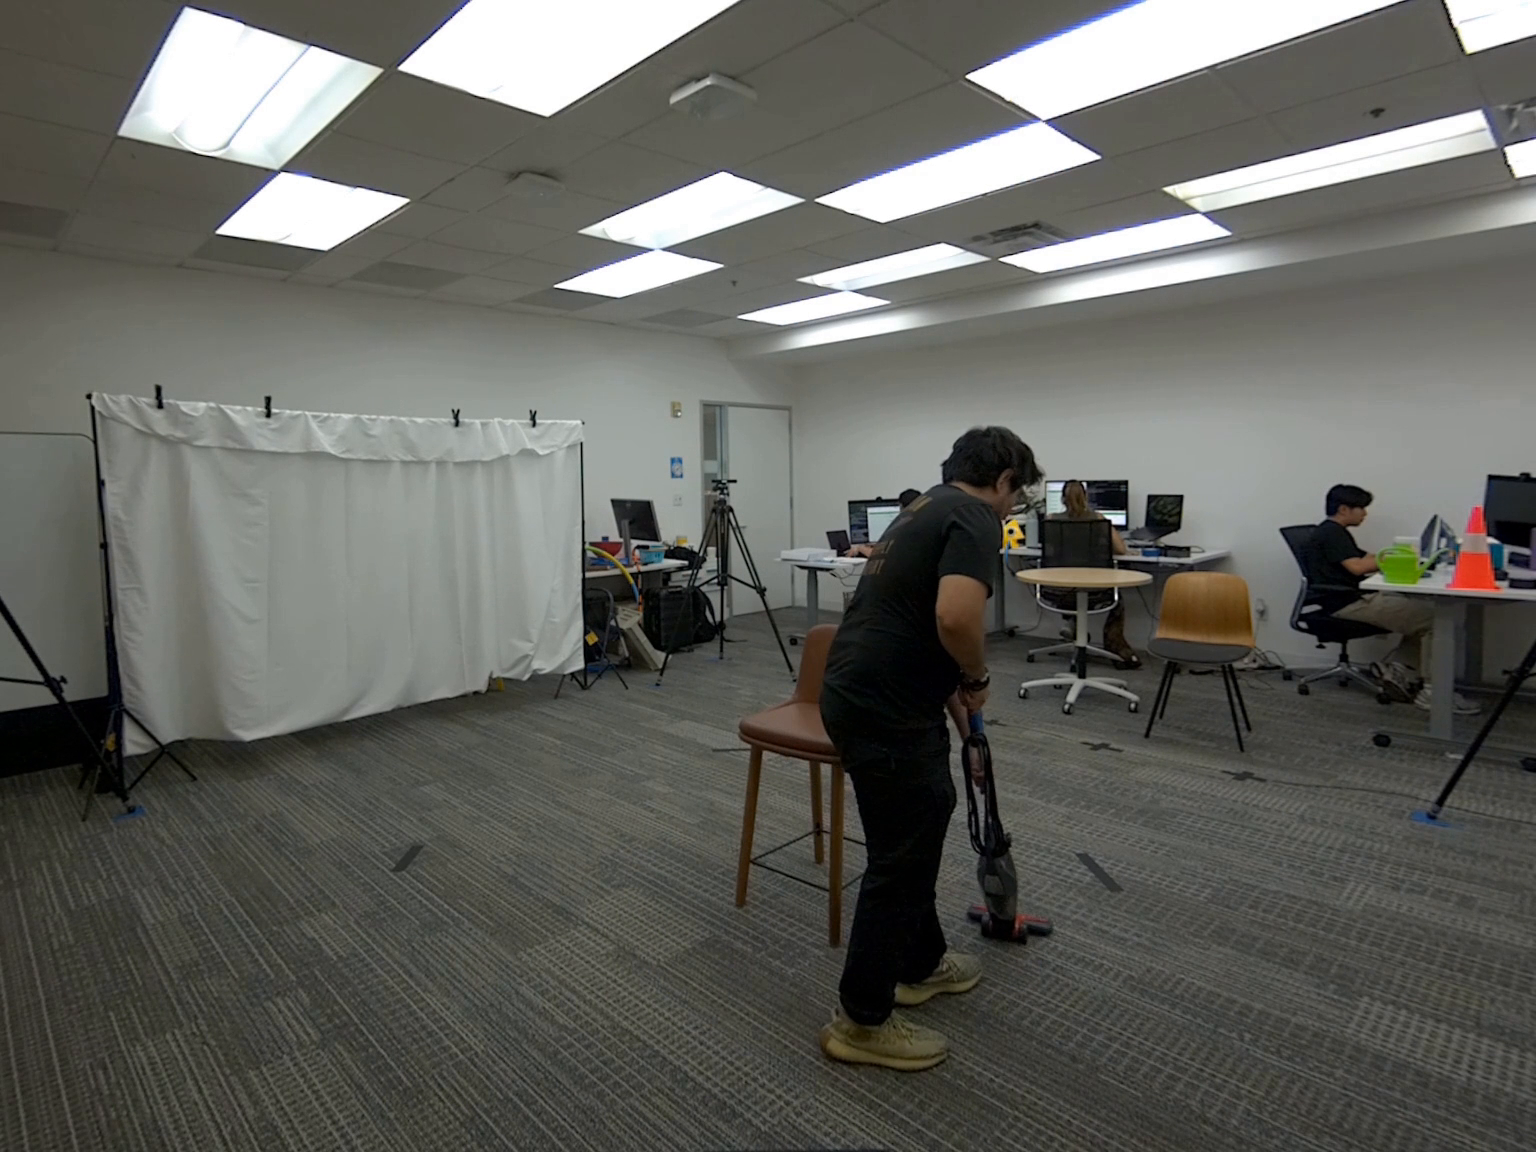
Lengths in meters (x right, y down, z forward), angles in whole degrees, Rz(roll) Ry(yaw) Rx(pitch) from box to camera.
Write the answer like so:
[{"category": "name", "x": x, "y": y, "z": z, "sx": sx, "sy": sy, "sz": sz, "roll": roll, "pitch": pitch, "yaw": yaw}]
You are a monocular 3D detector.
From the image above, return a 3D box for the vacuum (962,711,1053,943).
[{"category": "vacuum", "x": 0.612, "y": 0.670, "z": 2.354, "sx": 0.258, "sy": 1.017, "sz": 0.145, "roll": 2, "pitch": 37, "yaw": 26}]
